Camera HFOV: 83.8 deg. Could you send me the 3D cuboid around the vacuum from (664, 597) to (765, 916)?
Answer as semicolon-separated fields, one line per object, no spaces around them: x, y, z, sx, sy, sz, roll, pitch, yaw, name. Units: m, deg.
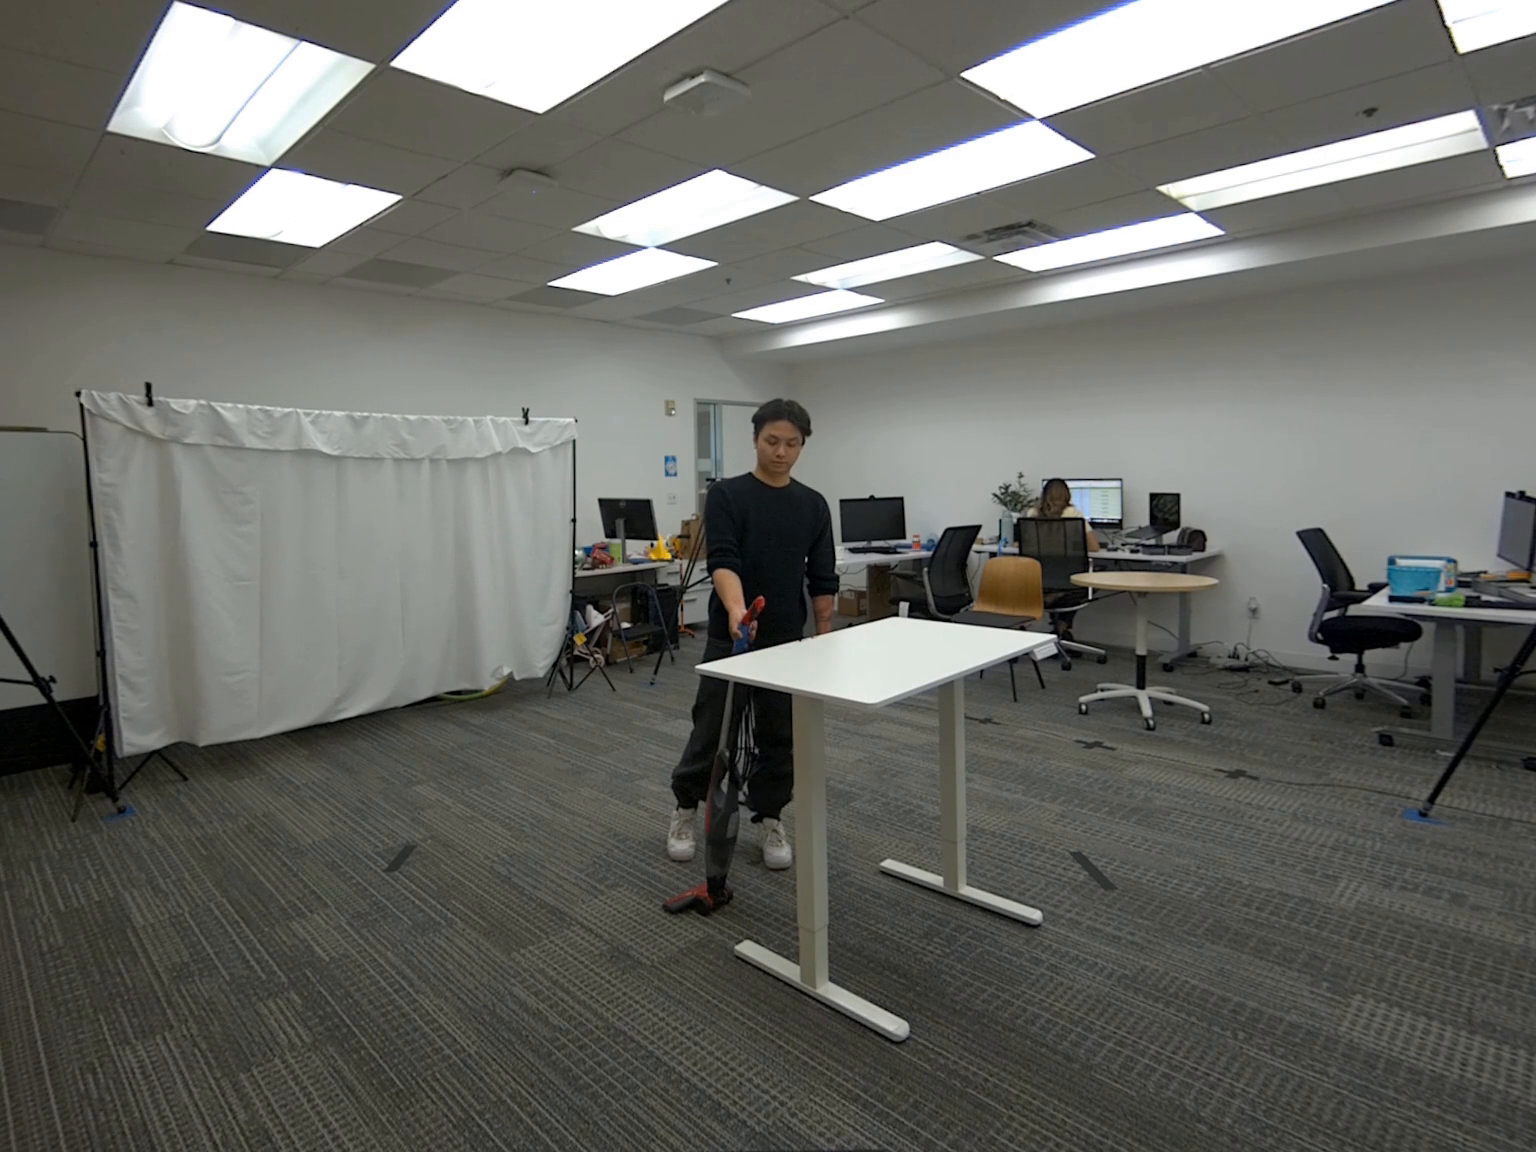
-0.114;0.584;2.722;0.149;1.041;0.246;18;13;35;vacuum
